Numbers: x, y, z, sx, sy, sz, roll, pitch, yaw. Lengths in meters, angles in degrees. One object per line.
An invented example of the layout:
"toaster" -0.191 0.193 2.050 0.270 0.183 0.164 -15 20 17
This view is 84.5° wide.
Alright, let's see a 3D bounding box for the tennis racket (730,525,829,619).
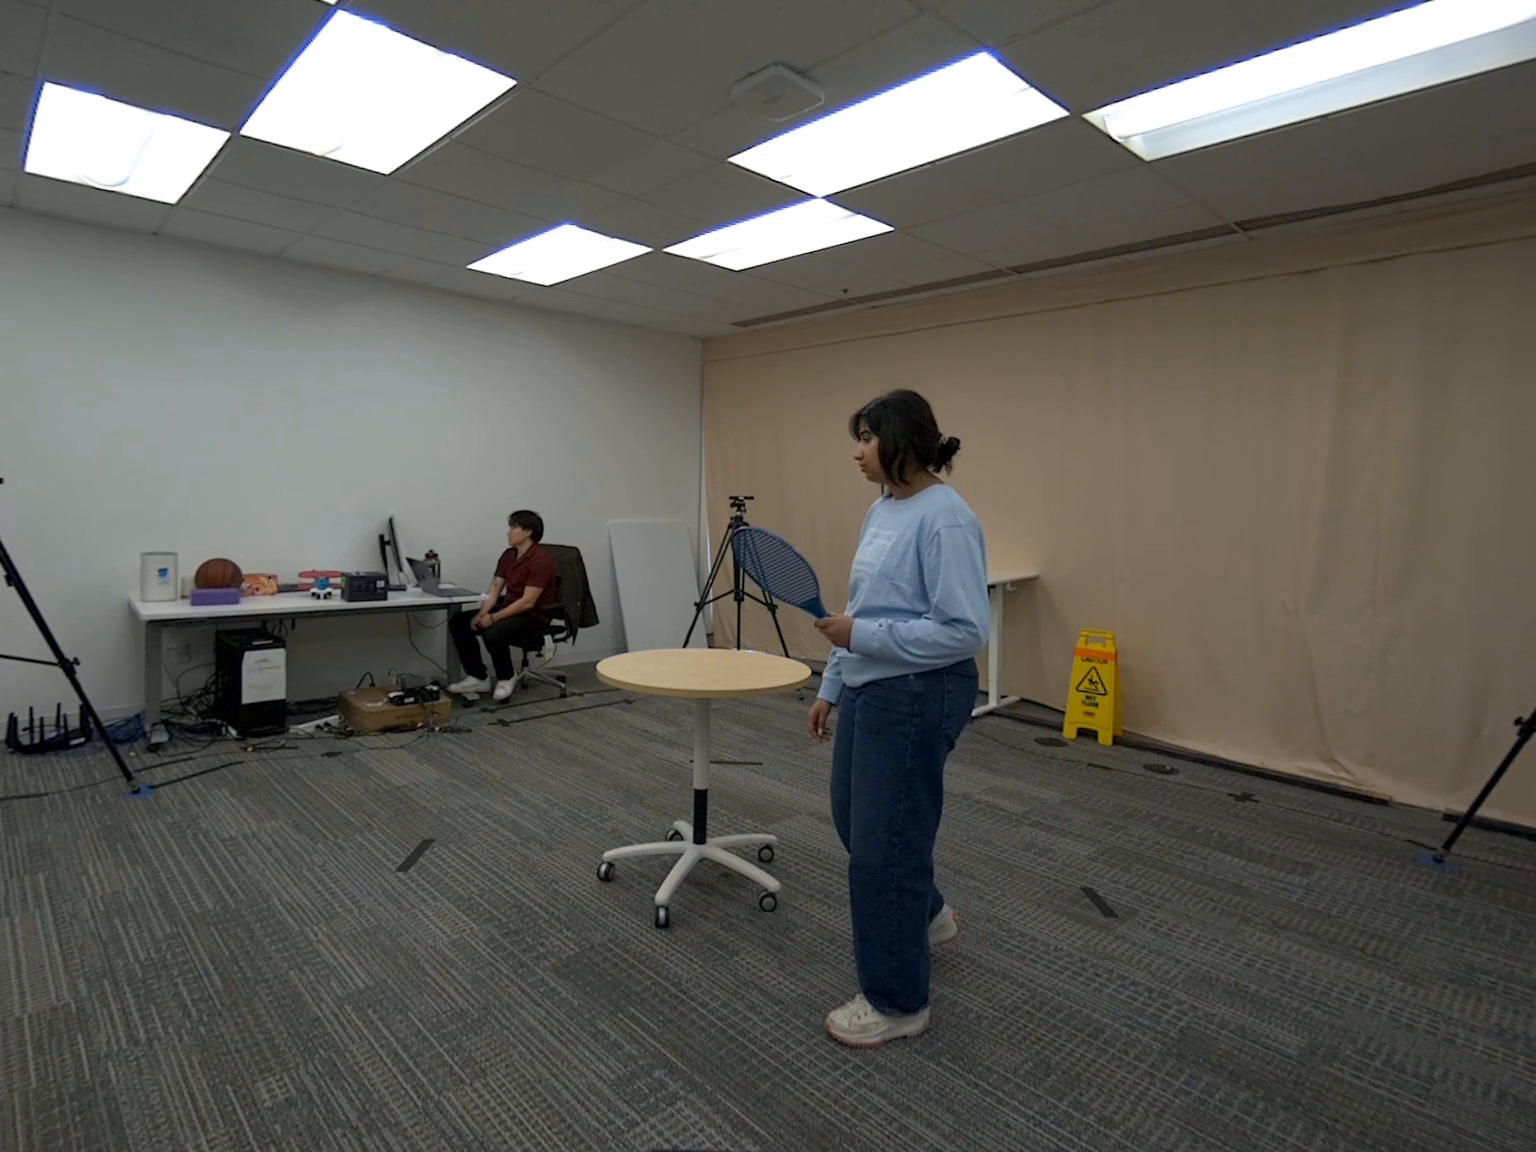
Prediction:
"tennis racket" 0.073 0.040 2.116 0.215 0.428 0.032 -34 16 53
